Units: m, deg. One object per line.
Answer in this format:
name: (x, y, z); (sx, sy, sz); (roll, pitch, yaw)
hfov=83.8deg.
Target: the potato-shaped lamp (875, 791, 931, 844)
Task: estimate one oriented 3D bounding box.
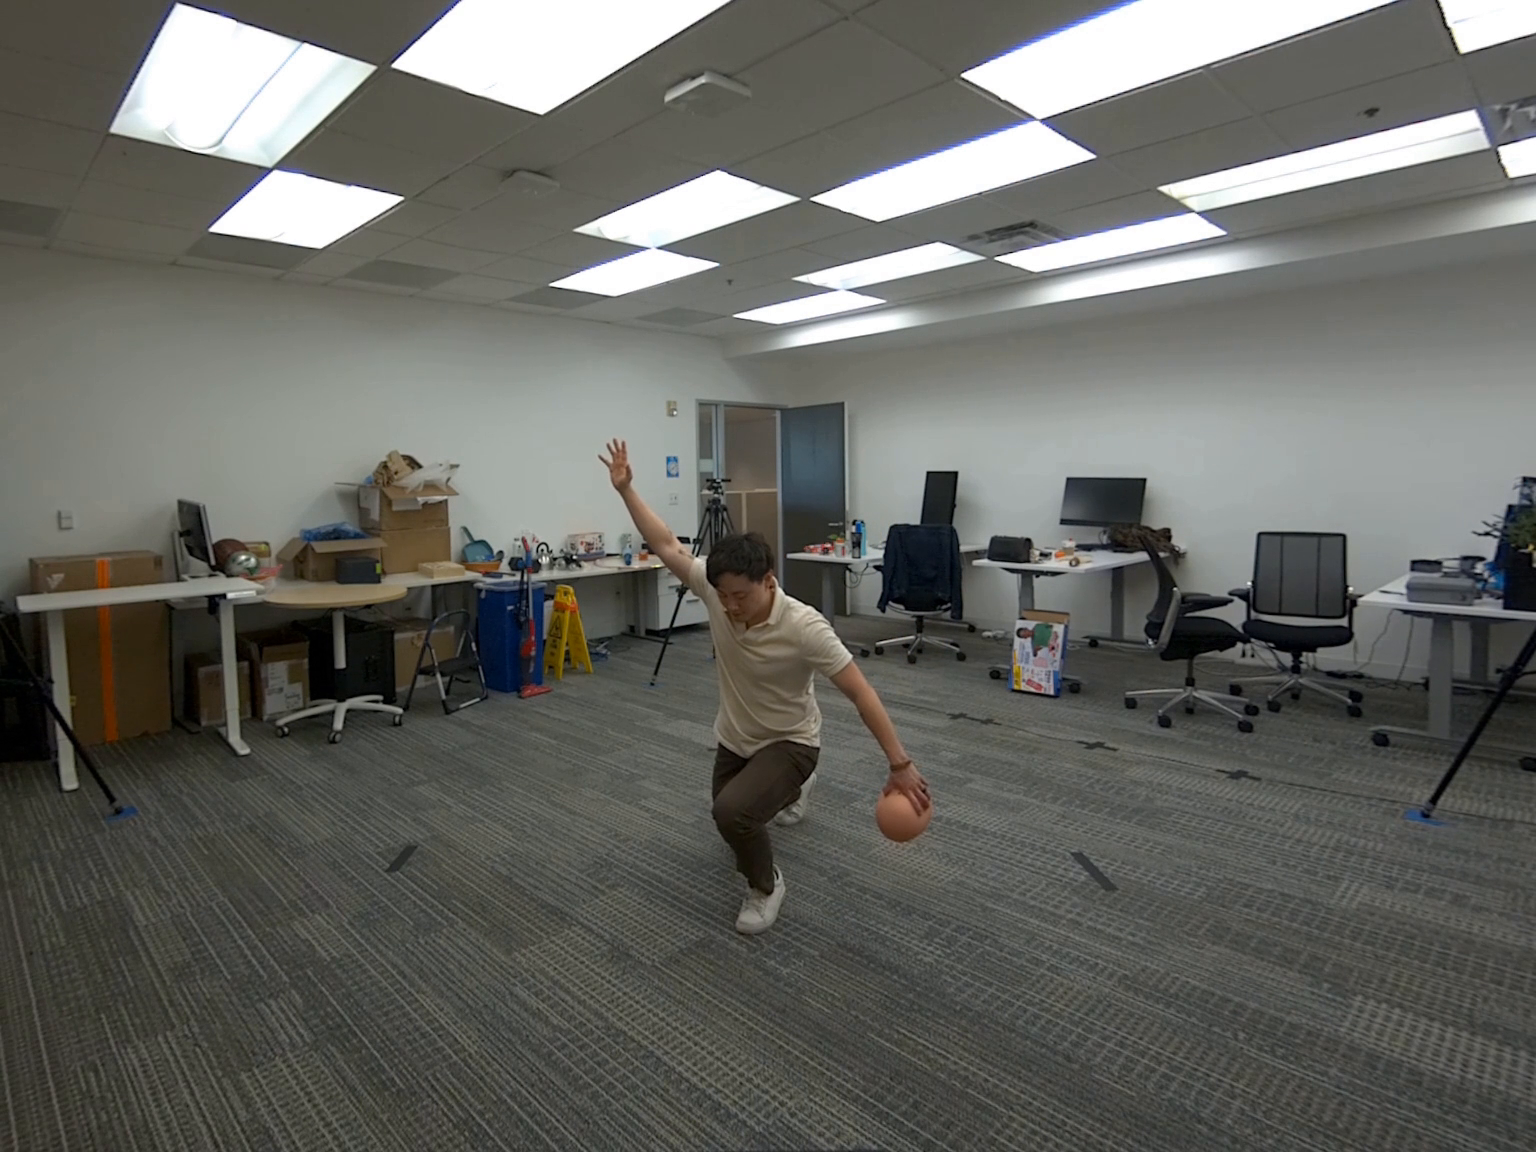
potato-shaped lamp: (0.411, 0.716, 2.594); (0.168, 0.171, 0.194); (17, 3, 17)
